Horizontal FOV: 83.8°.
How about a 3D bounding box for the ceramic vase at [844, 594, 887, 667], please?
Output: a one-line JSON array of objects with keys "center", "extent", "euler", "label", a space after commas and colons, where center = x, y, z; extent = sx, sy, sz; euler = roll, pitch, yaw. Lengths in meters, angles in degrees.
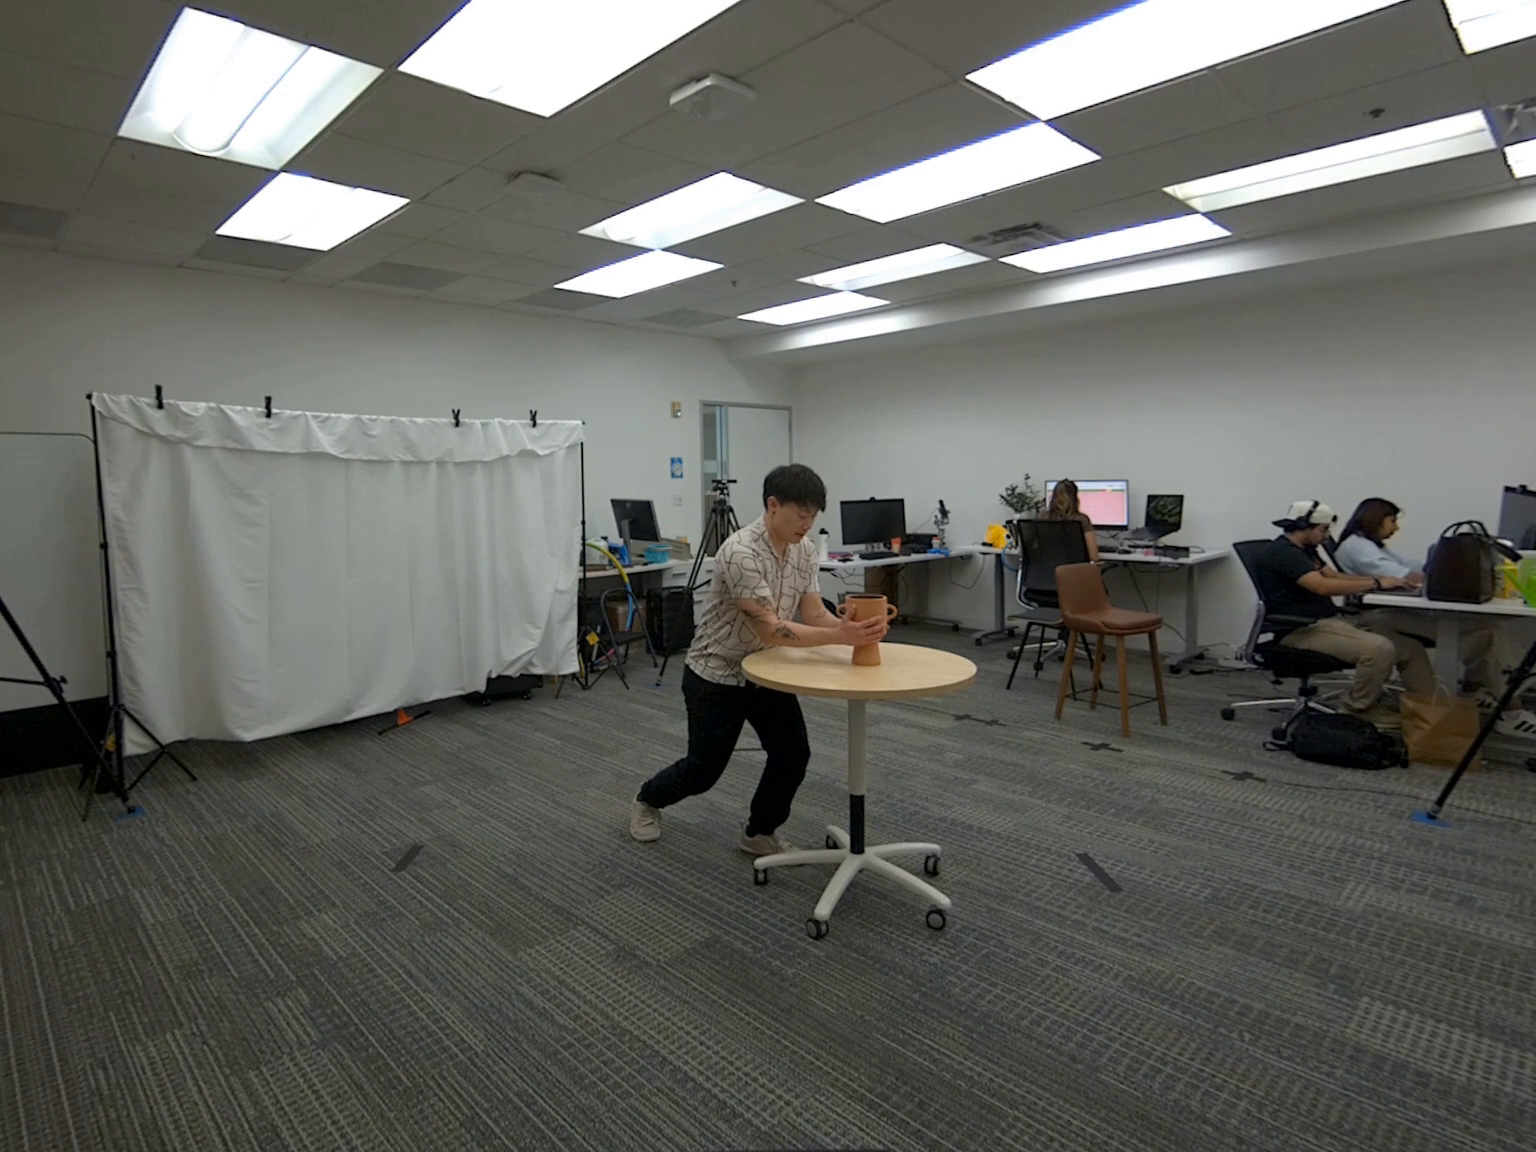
[{"center": [0.329, 0.181, 2.824], "extent": [0.164, 0.219, 0.131], "euler": [5, 7, 38], "label": "ceramic vase"}]
